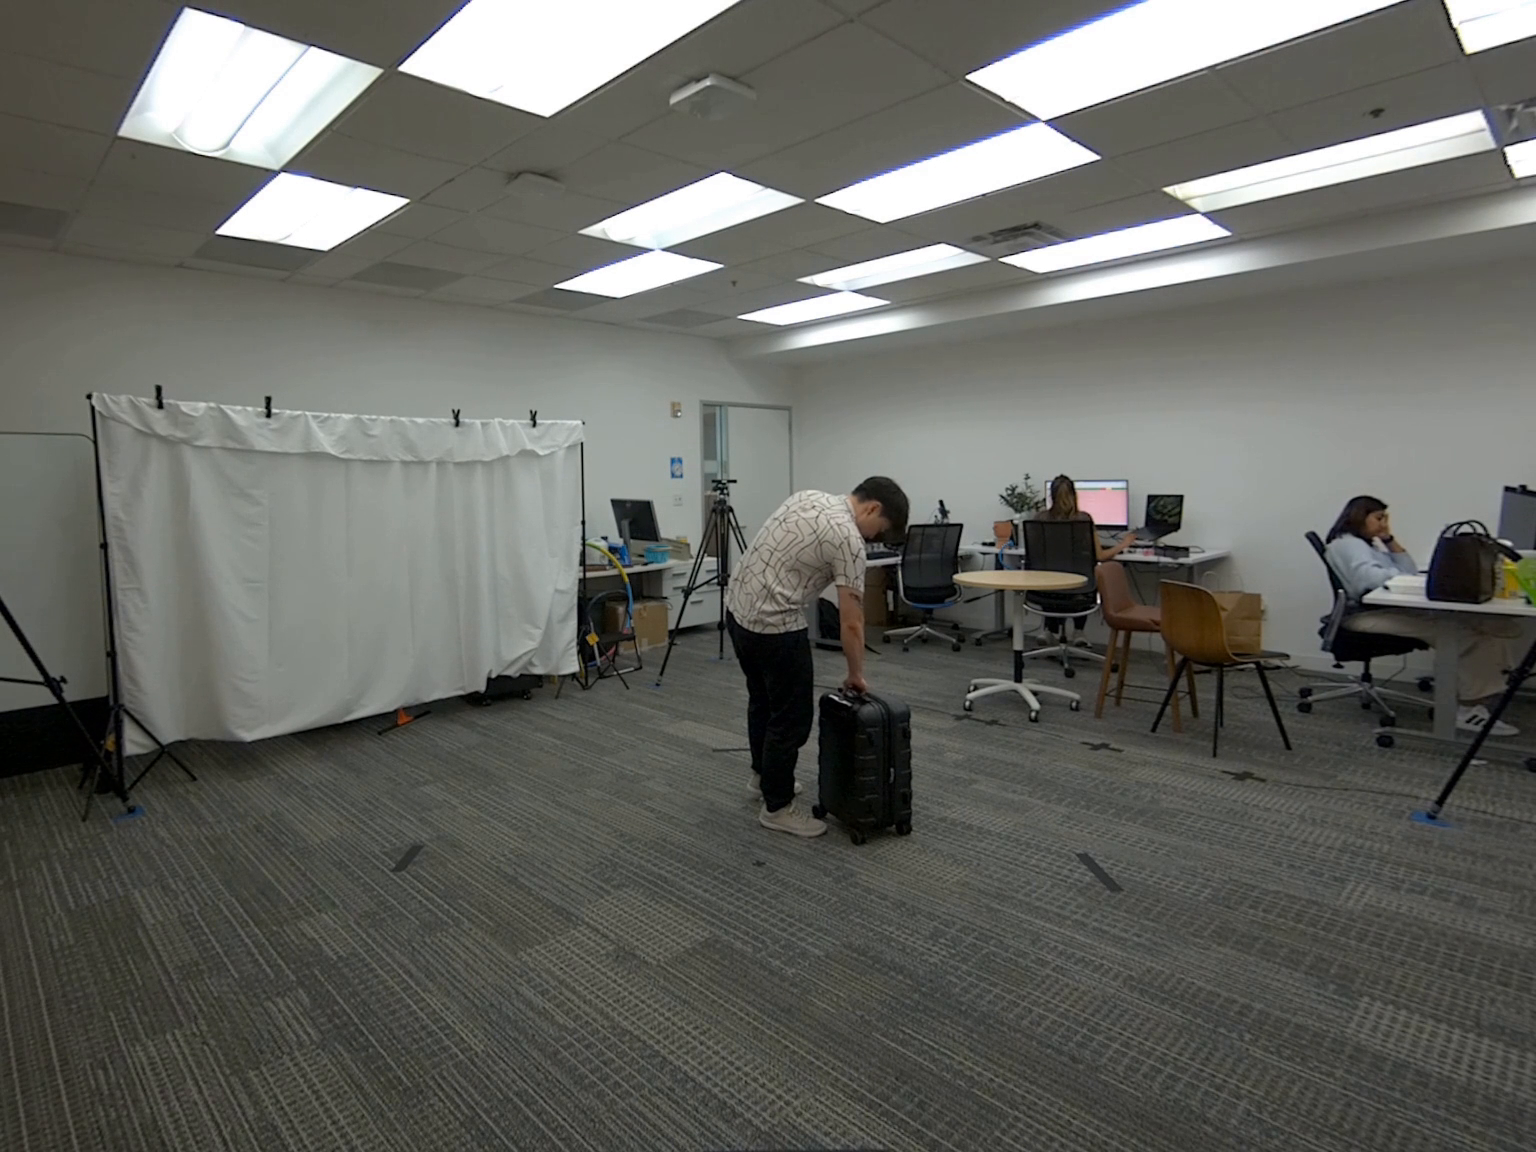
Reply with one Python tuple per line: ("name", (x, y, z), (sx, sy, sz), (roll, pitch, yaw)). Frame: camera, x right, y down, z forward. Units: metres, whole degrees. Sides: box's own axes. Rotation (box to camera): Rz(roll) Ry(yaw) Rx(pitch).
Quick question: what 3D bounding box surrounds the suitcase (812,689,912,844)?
("suitcase", (0.382, 0.727, 3.410), (0.243, 0.547, 0.385), (-3, 5, -26))
